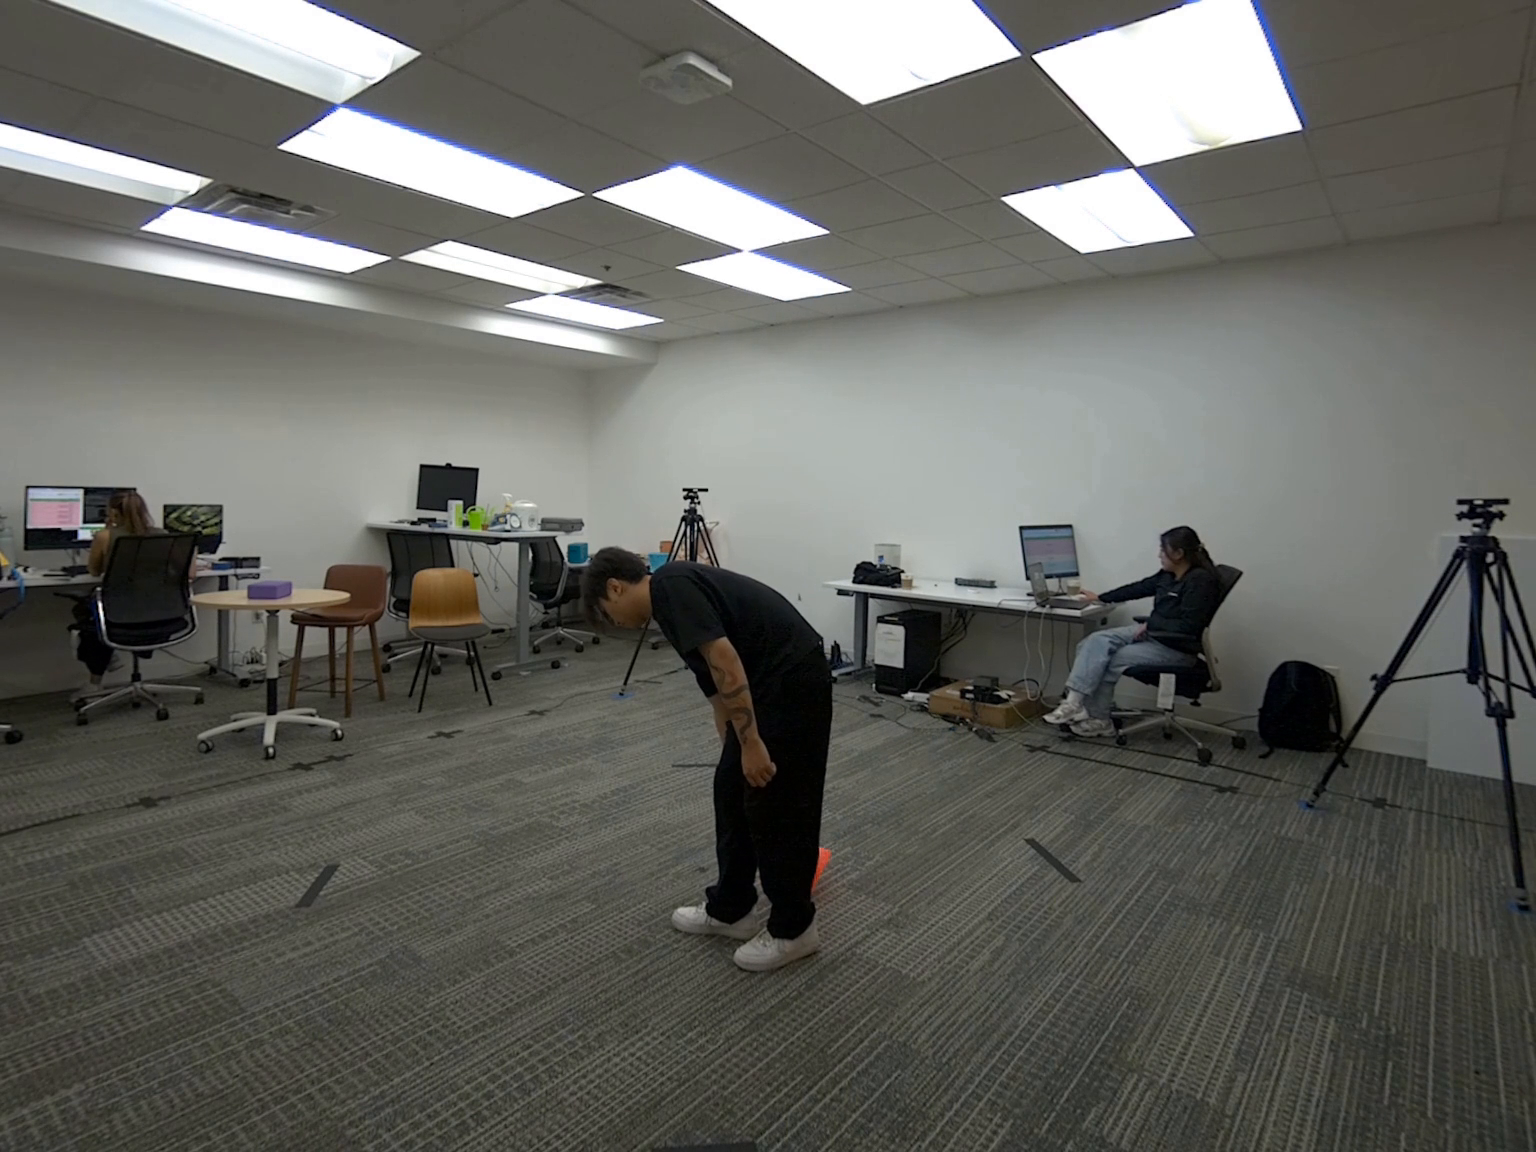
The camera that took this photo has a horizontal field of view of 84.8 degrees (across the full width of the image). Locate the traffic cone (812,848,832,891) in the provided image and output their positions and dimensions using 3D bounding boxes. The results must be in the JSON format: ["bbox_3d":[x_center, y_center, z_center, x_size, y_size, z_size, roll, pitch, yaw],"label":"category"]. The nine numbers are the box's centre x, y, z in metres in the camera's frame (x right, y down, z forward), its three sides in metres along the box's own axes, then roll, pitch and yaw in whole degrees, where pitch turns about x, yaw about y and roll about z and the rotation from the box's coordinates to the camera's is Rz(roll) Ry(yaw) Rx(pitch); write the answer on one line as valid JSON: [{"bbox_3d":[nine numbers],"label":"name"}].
[{"bbox_3d":[0.010,0.888,2.877,0.210,0.370,0.206,-1,44,40],"label":"traffic cone"}]
